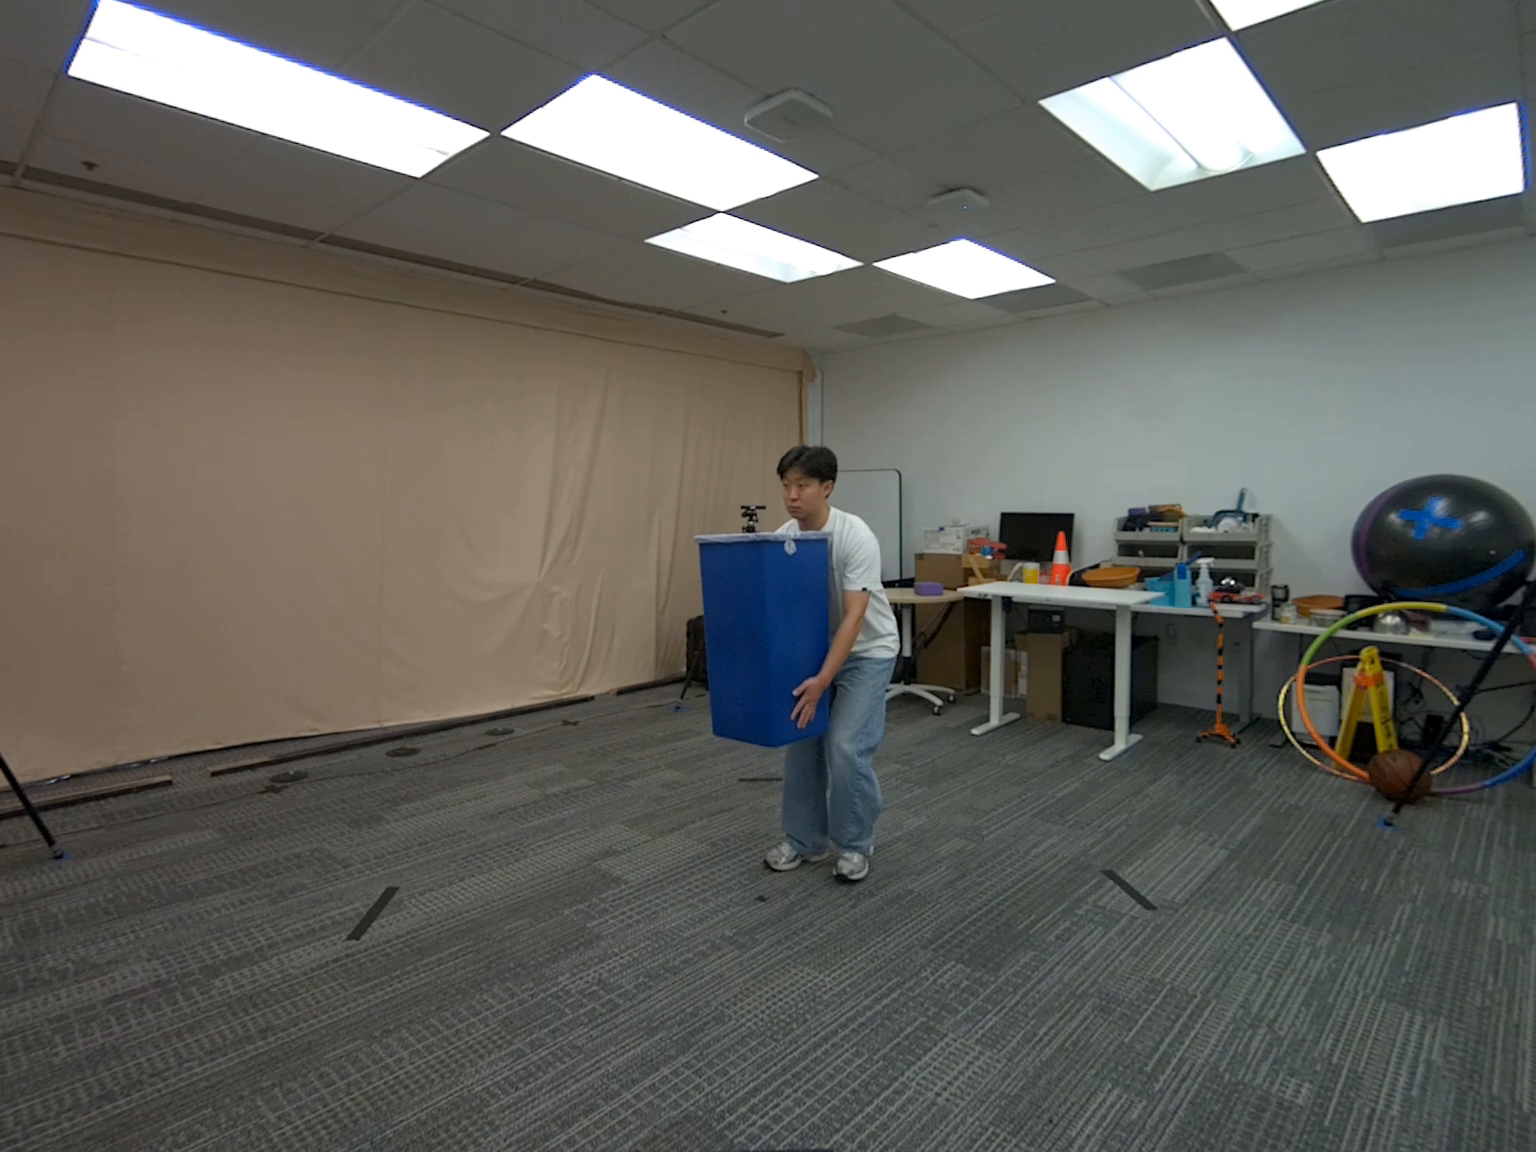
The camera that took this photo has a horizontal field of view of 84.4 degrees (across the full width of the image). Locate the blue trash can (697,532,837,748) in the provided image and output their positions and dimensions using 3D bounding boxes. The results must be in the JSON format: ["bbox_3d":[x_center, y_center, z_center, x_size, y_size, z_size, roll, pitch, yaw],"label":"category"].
[{"bbox_3d":[-0.010,0.215,2.993,0.386,0.713,0.366,0,2,44],"label":"blue trash can"}]
